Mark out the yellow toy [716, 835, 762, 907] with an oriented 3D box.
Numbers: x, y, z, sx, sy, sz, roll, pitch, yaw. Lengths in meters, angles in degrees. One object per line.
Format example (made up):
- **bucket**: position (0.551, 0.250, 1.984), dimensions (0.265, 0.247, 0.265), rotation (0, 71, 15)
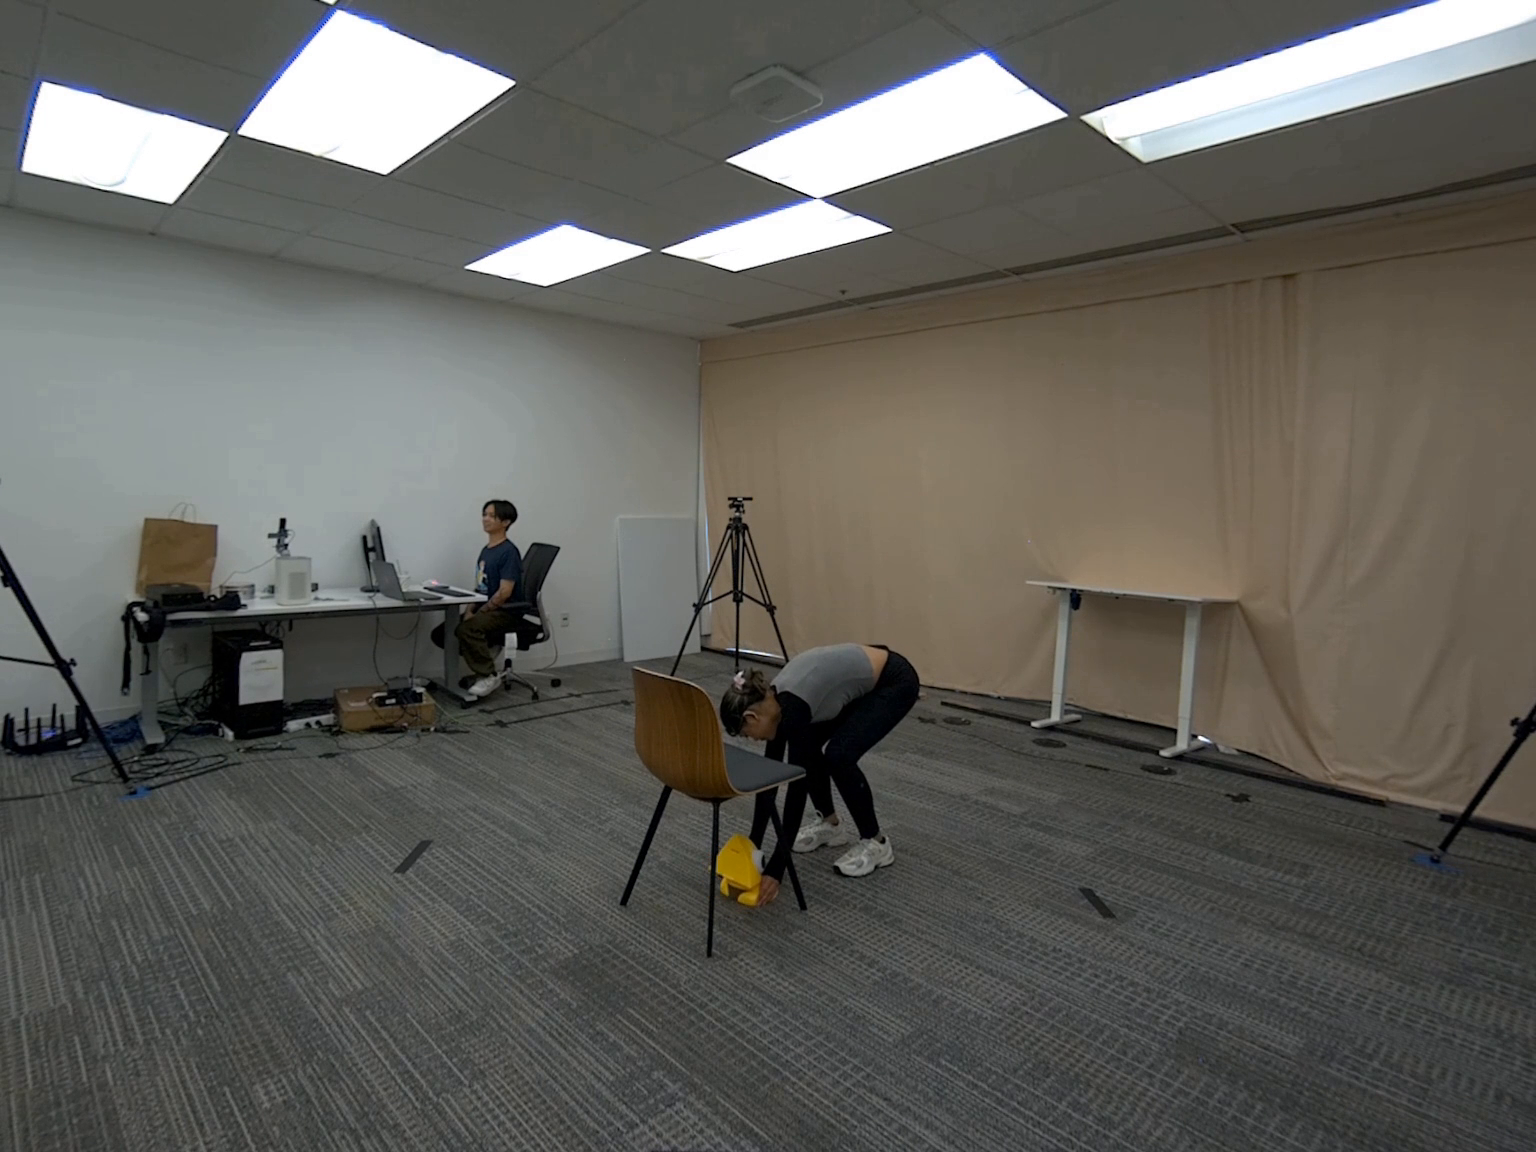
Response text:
- **yellow toy**: position (-0.080, 1.013, 2.971), dimensions (0.189, 0.230, 0.210), rotation (-4, 7, -44)
